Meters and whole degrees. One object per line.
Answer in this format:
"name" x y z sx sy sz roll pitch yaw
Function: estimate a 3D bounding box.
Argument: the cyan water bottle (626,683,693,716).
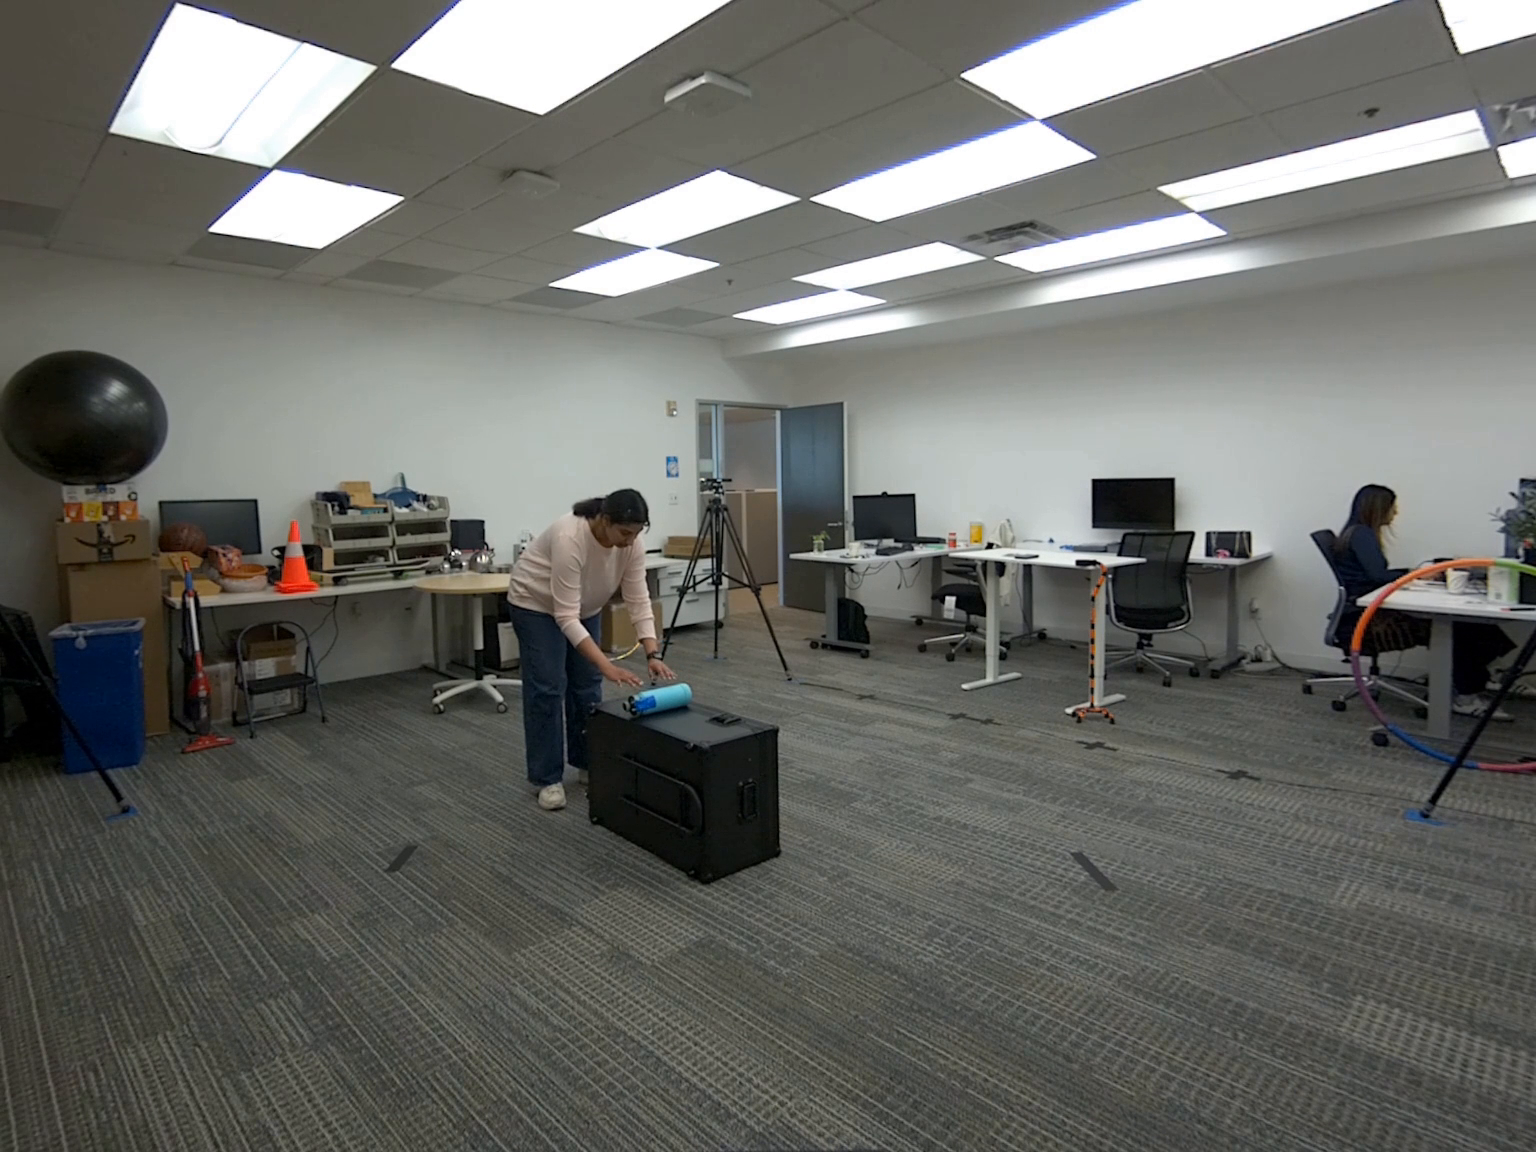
"cyan water bottle" -0.438 0.486 3.384 0.276 0.092 0.095 -7 7 -40
